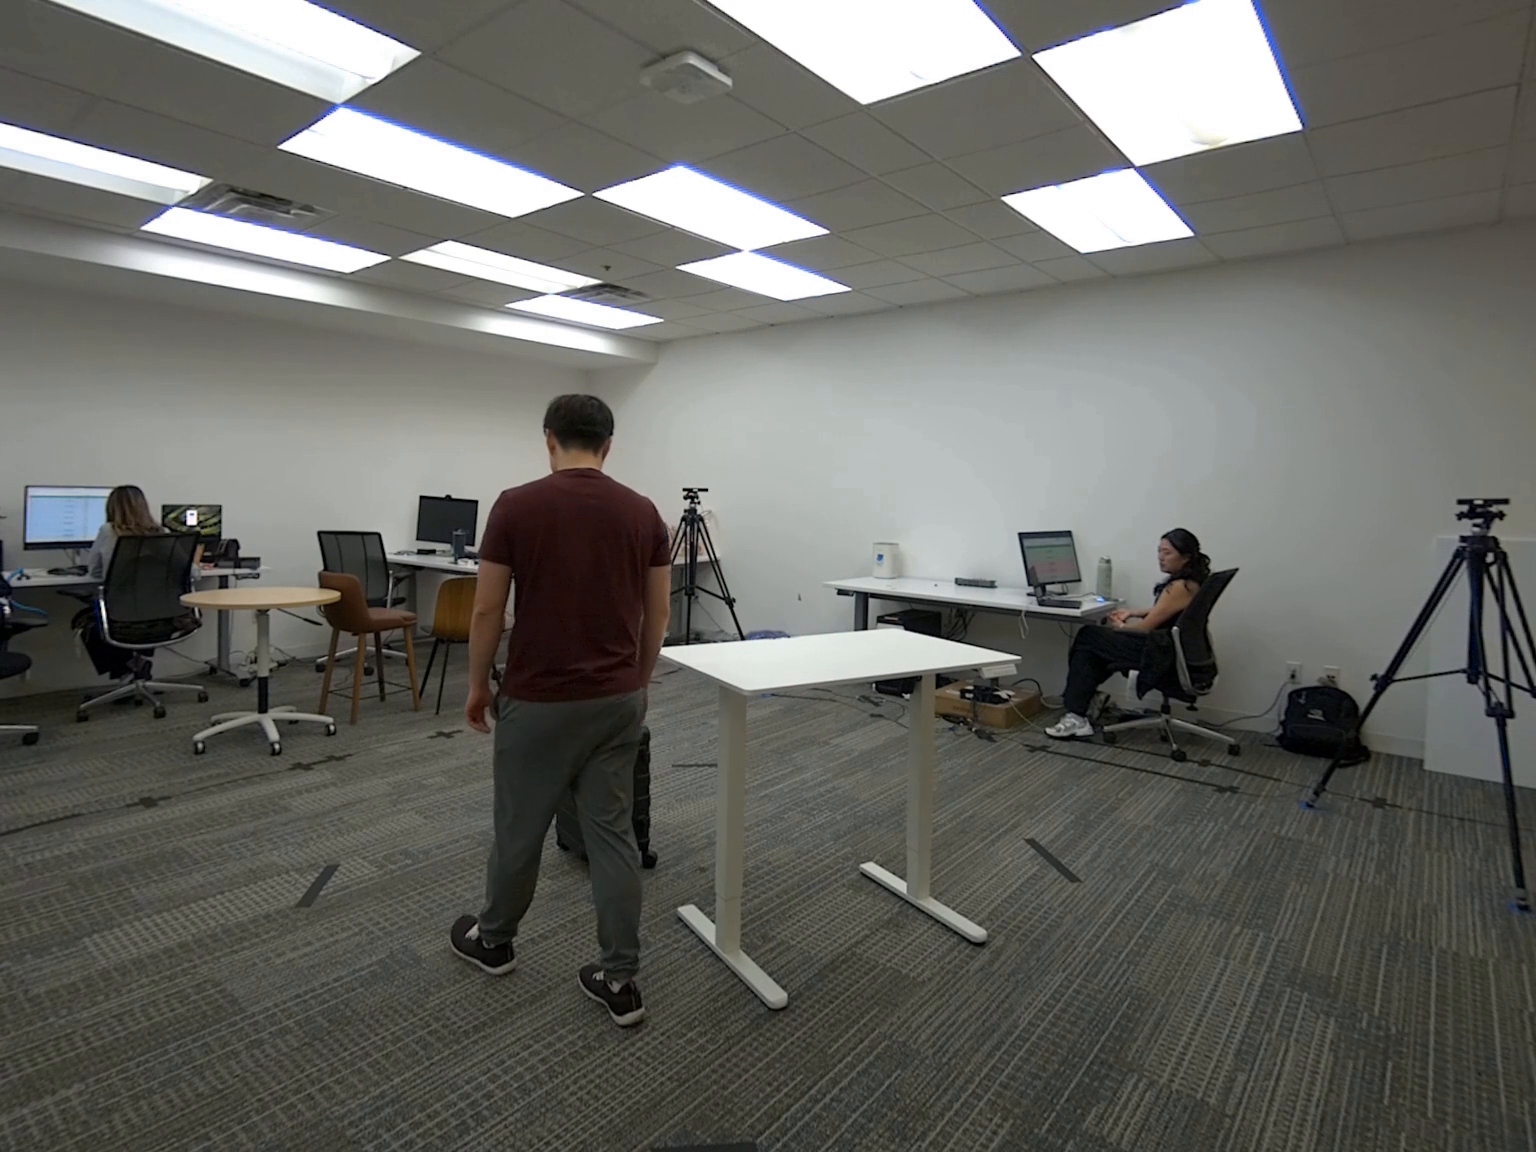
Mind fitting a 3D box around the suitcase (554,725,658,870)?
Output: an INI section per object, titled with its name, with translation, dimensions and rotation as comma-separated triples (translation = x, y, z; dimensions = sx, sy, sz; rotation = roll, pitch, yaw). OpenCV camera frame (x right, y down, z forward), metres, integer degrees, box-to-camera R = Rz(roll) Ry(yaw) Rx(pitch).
[suitcase]
translation = -0.620, 0.575, 3.172
dimensions = 0.250, 0.976, 0.396
rotation = 0, 3, -33
